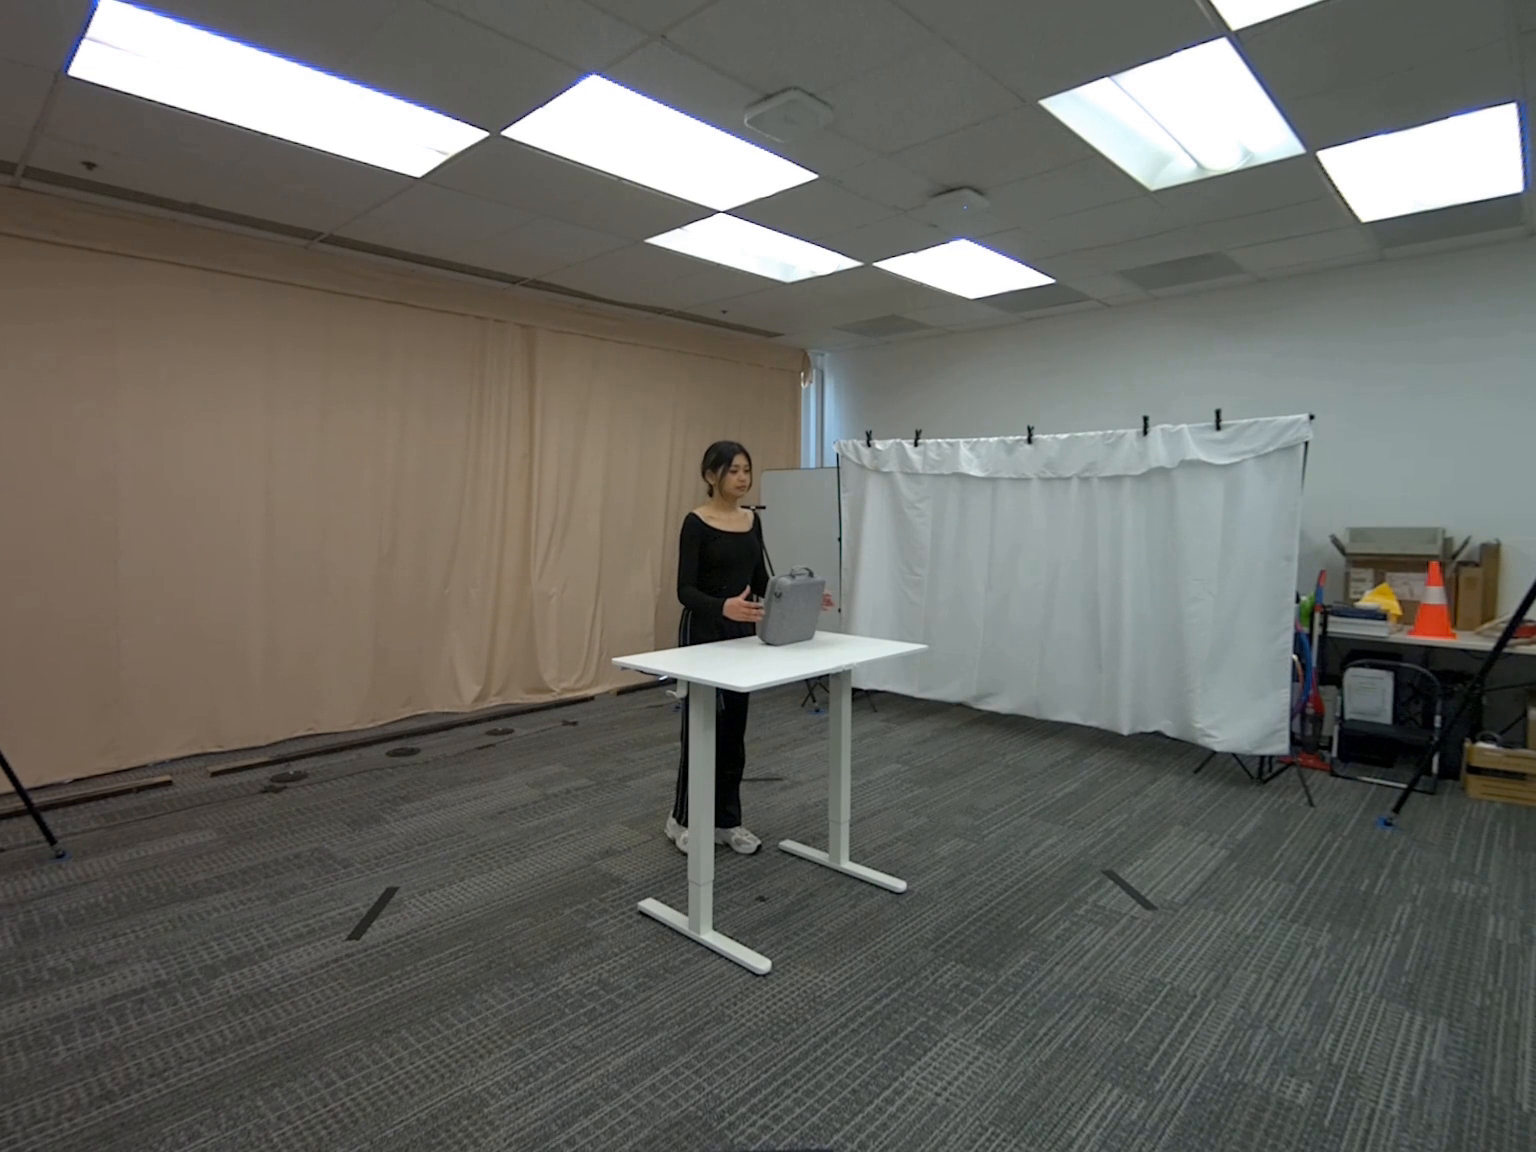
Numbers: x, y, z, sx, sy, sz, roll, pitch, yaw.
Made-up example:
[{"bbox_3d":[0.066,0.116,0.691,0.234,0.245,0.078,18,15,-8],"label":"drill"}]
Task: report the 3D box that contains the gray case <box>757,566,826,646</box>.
[{"bbox_3d":[0.094,0.118,3.135,0.108,0.259,0.249,19,15,41],"label":"gray case"}]
